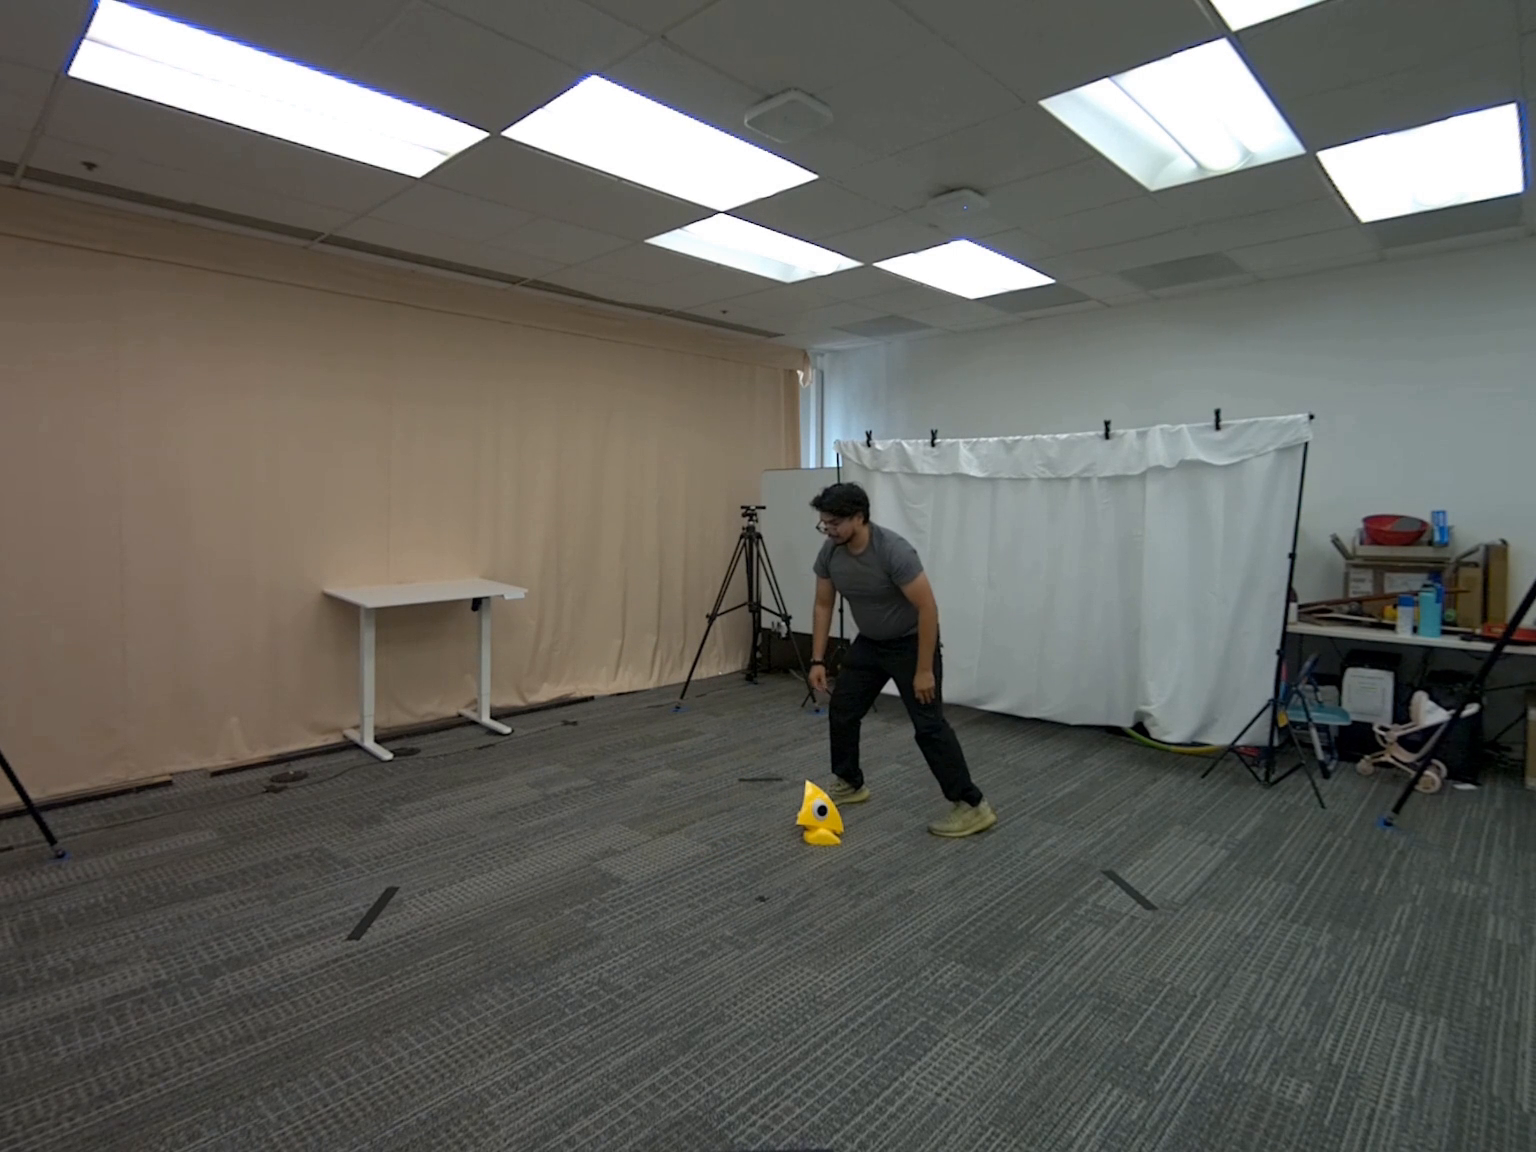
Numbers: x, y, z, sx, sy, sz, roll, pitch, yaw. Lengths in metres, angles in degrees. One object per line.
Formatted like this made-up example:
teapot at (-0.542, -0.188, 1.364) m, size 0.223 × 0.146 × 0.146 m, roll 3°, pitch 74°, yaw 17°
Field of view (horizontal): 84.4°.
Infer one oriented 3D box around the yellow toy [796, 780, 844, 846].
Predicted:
yellow toy at (0.227, 0.982, 3.551) m, size 0.195 × 0.230 × 0.202 m, roll 0°, pitch 3°, yaw 11°
